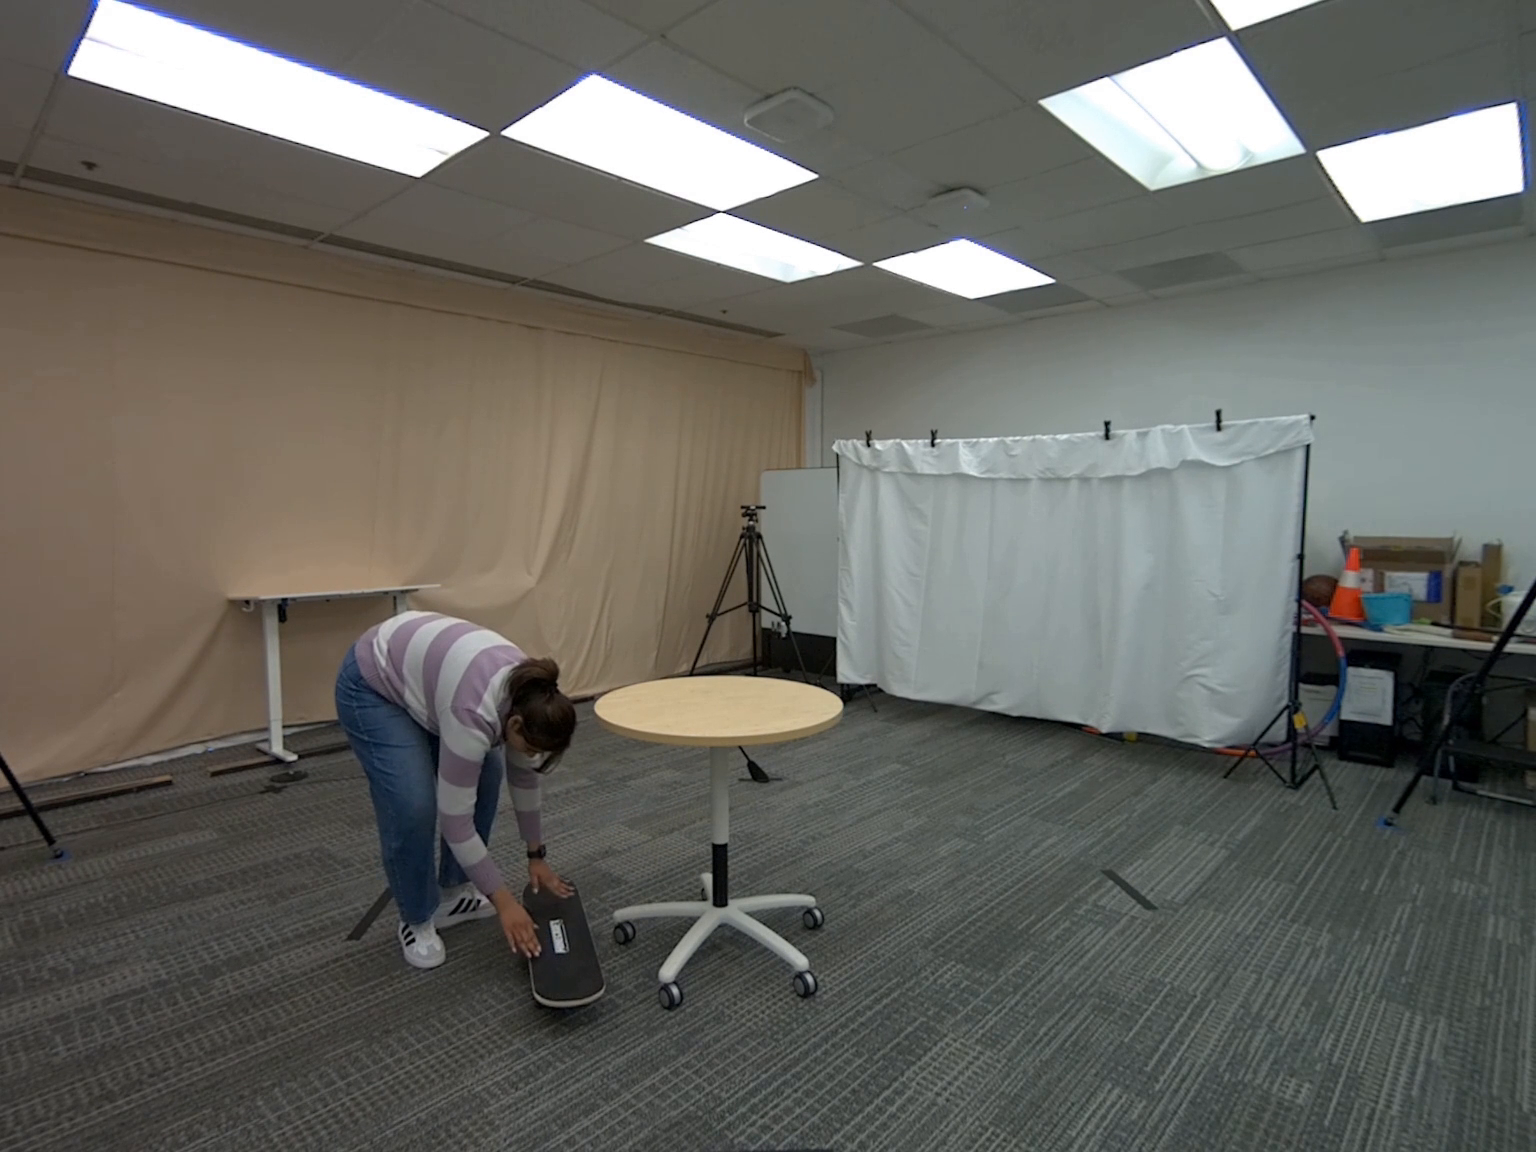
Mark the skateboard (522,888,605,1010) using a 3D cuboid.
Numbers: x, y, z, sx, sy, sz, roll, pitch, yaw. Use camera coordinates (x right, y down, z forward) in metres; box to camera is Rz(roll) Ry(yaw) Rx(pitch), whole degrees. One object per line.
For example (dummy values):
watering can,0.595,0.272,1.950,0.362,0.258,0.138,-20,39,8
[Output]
skateboard,-0.629,1.127,2.558,0.190,0.110,0.801,-1,4,-19
